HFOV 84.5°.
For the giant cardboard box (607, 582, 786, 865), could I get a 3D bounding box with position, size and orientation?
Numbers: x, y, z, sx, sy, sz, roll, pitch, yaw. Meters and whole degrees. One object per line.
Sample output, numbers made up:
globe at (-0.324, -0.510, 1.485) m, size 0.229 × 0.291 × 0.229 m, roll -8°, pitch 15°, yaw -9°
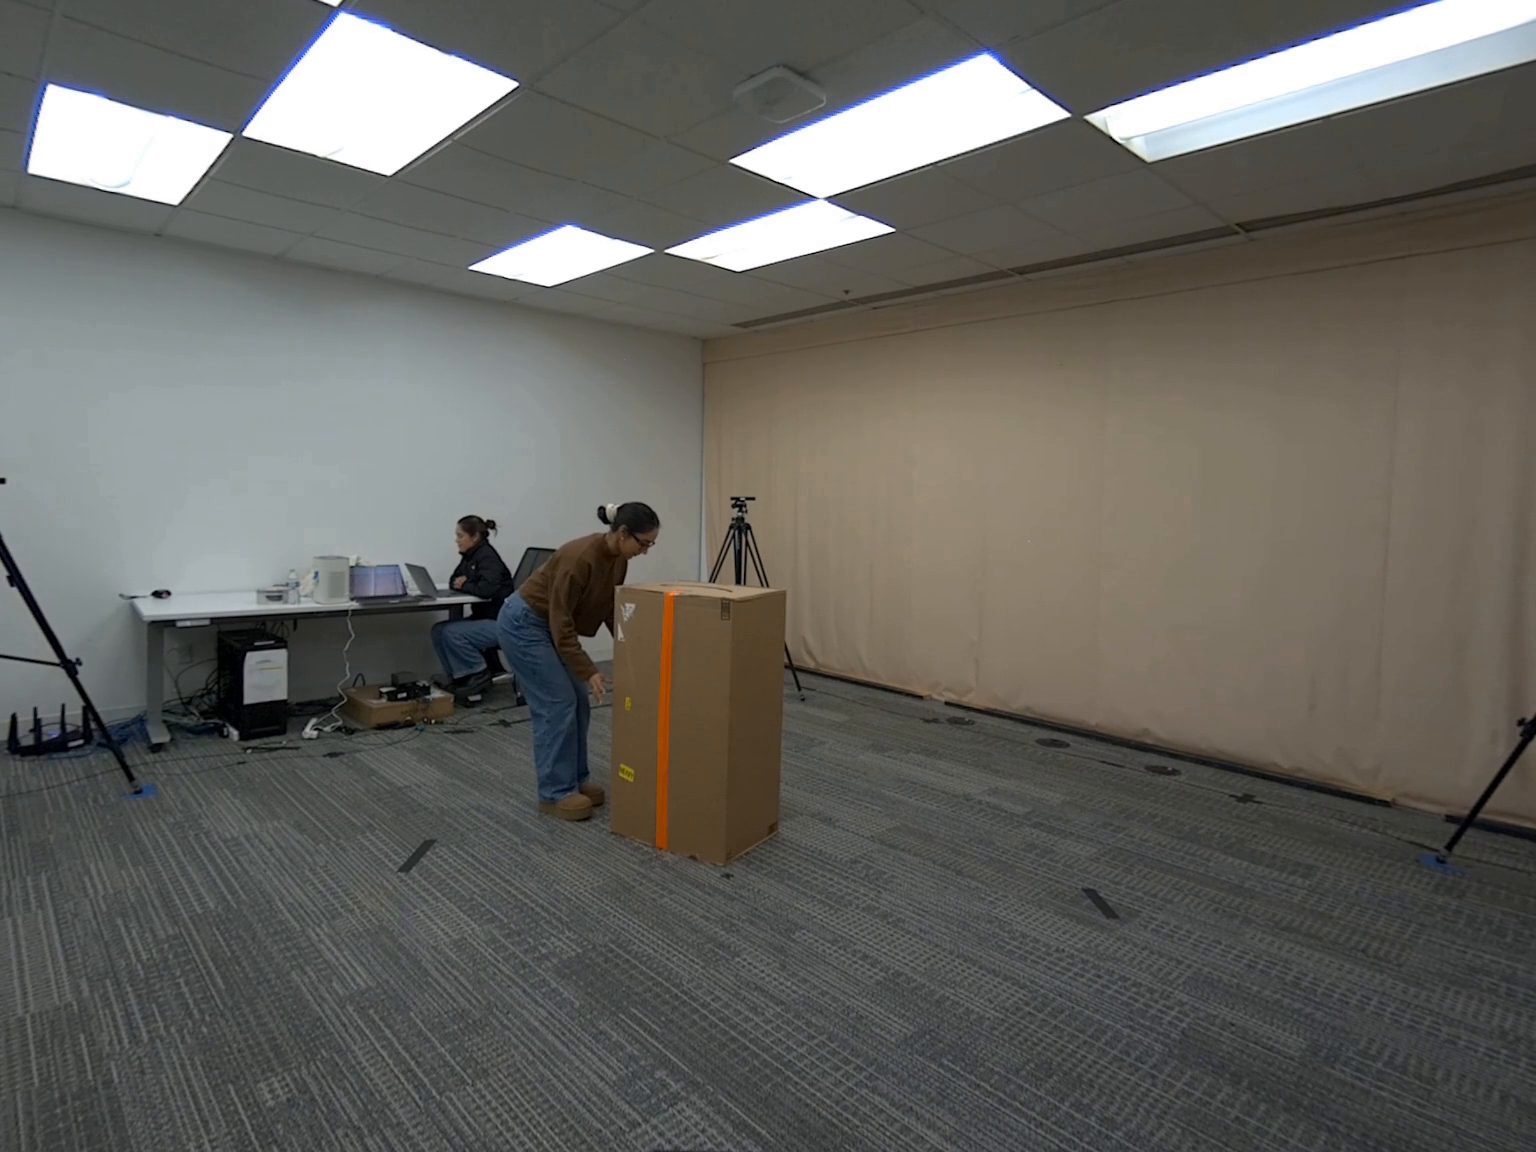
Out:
giant cardboard box at (-0.296, 0.563, 3.474) m, size 0.591 × 1.023 × 0.417 m, roll 4°, pitch 4°, yaw 32°
